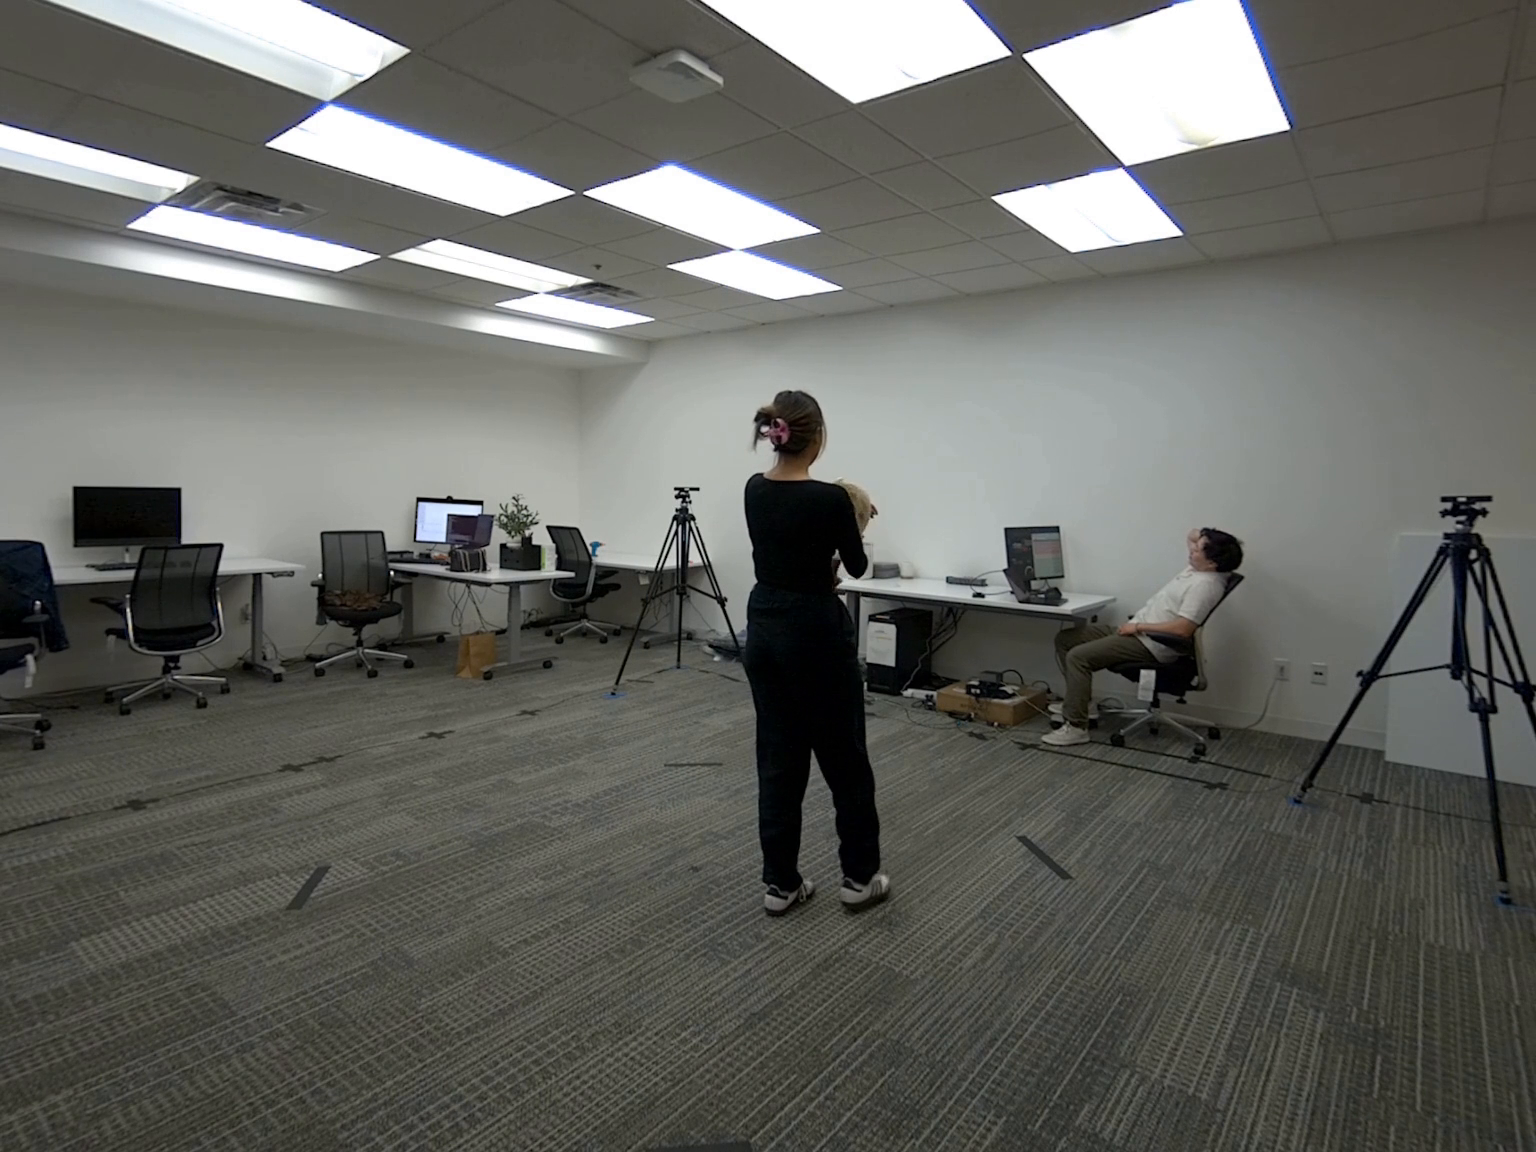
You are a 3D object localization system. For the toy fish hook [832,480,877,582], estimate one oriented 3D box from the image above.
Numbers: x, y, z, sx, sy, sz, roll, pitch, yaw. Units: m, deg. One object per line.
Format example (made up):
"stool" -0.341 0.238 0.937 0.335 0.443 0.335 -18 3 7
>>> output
"toy fish hook" 0.238 -0.140 3.300 0.233 0.499 0.047 33 29 28
